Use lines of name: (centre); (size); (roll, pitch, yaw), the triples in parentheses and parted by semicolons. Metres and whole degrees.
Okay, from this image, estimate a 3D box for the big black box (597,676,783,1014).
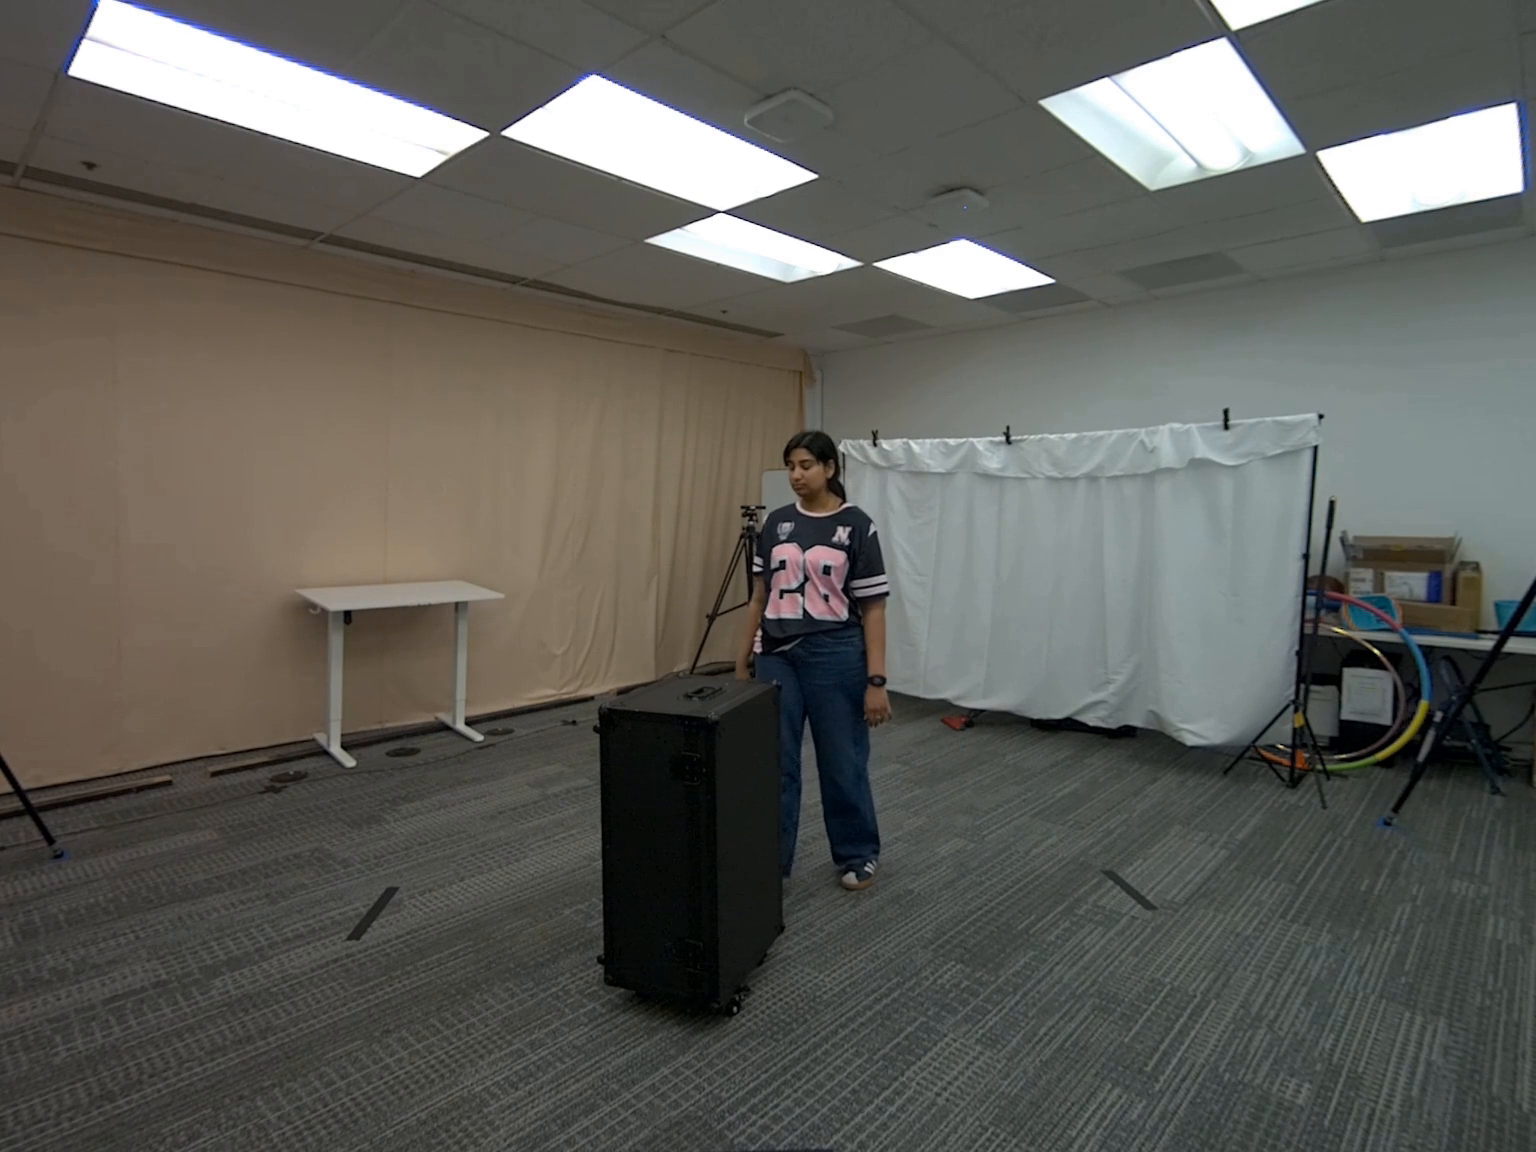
big black box: (-0.216, 0.770, 2.451); (0.394, 0.867, 0.512); (0, 3, 22)
